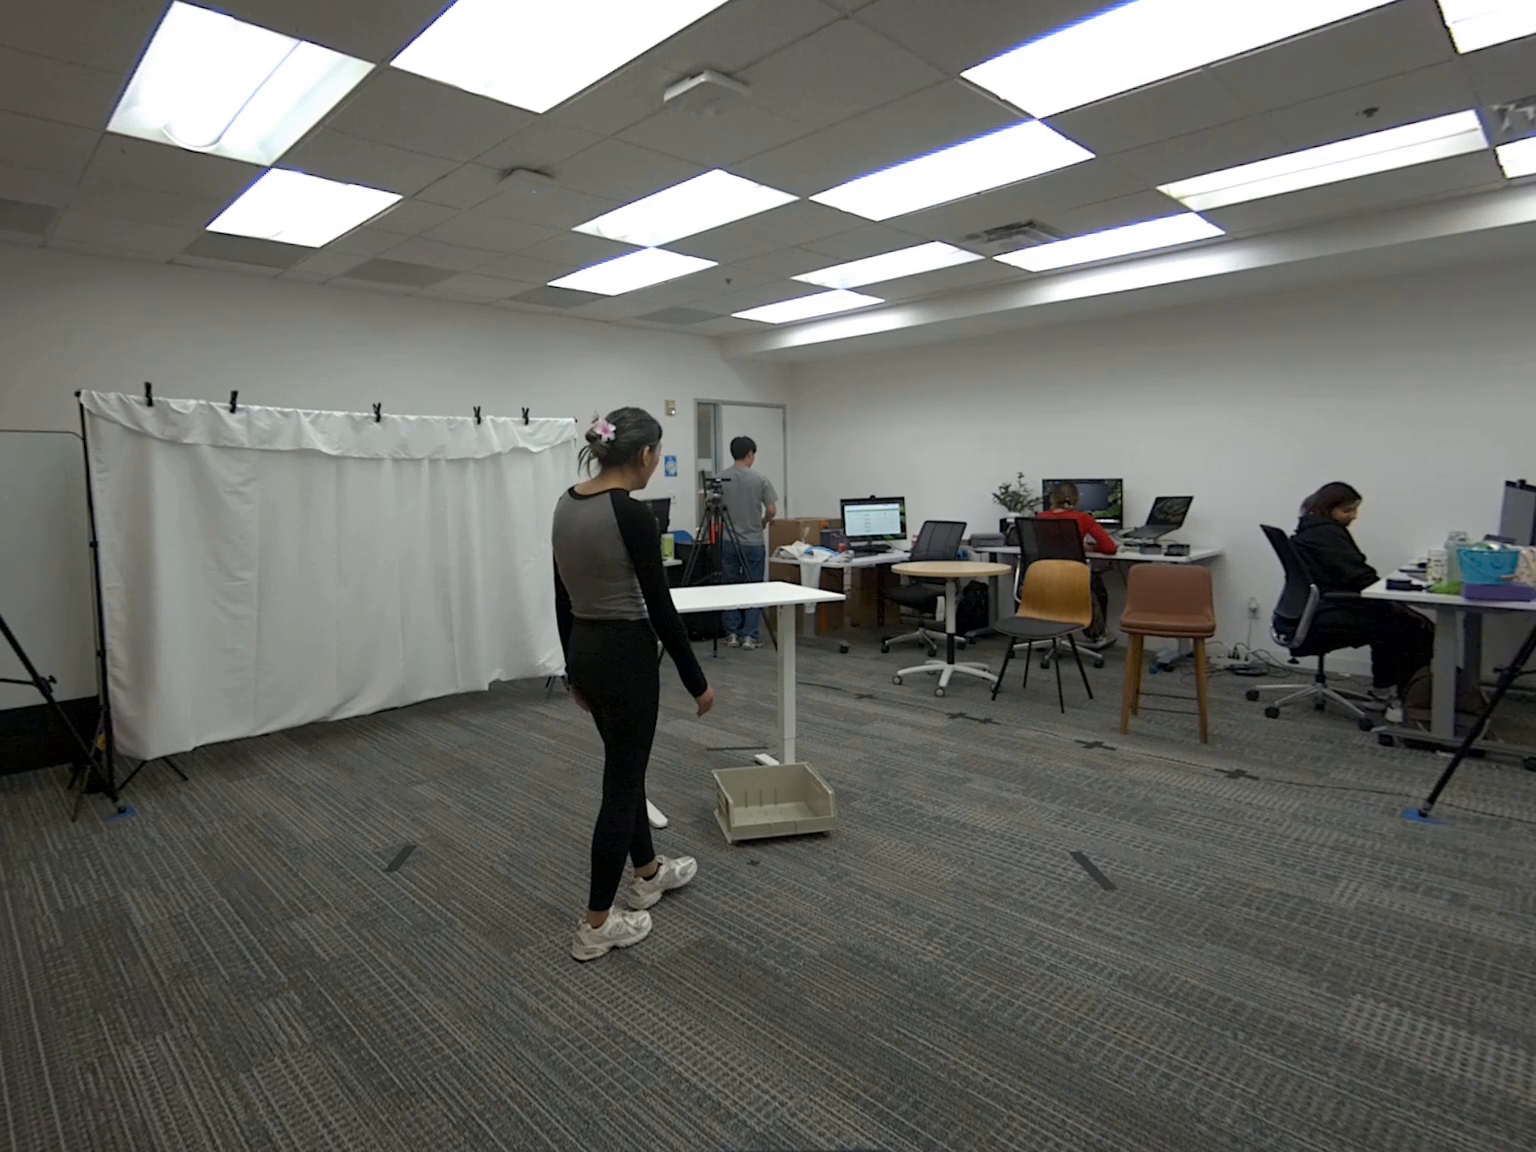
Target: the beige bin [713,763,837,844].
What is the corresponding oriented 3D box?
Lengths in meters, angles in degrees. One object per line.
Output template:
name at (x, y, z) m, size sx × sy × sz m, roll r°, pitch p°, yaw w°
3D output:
beige bin at (0.017, 0.914, 3.433) m, size 0.417 × 0.188 × 0.383 m, roll -3°, pitch 5°, yaw -14°
